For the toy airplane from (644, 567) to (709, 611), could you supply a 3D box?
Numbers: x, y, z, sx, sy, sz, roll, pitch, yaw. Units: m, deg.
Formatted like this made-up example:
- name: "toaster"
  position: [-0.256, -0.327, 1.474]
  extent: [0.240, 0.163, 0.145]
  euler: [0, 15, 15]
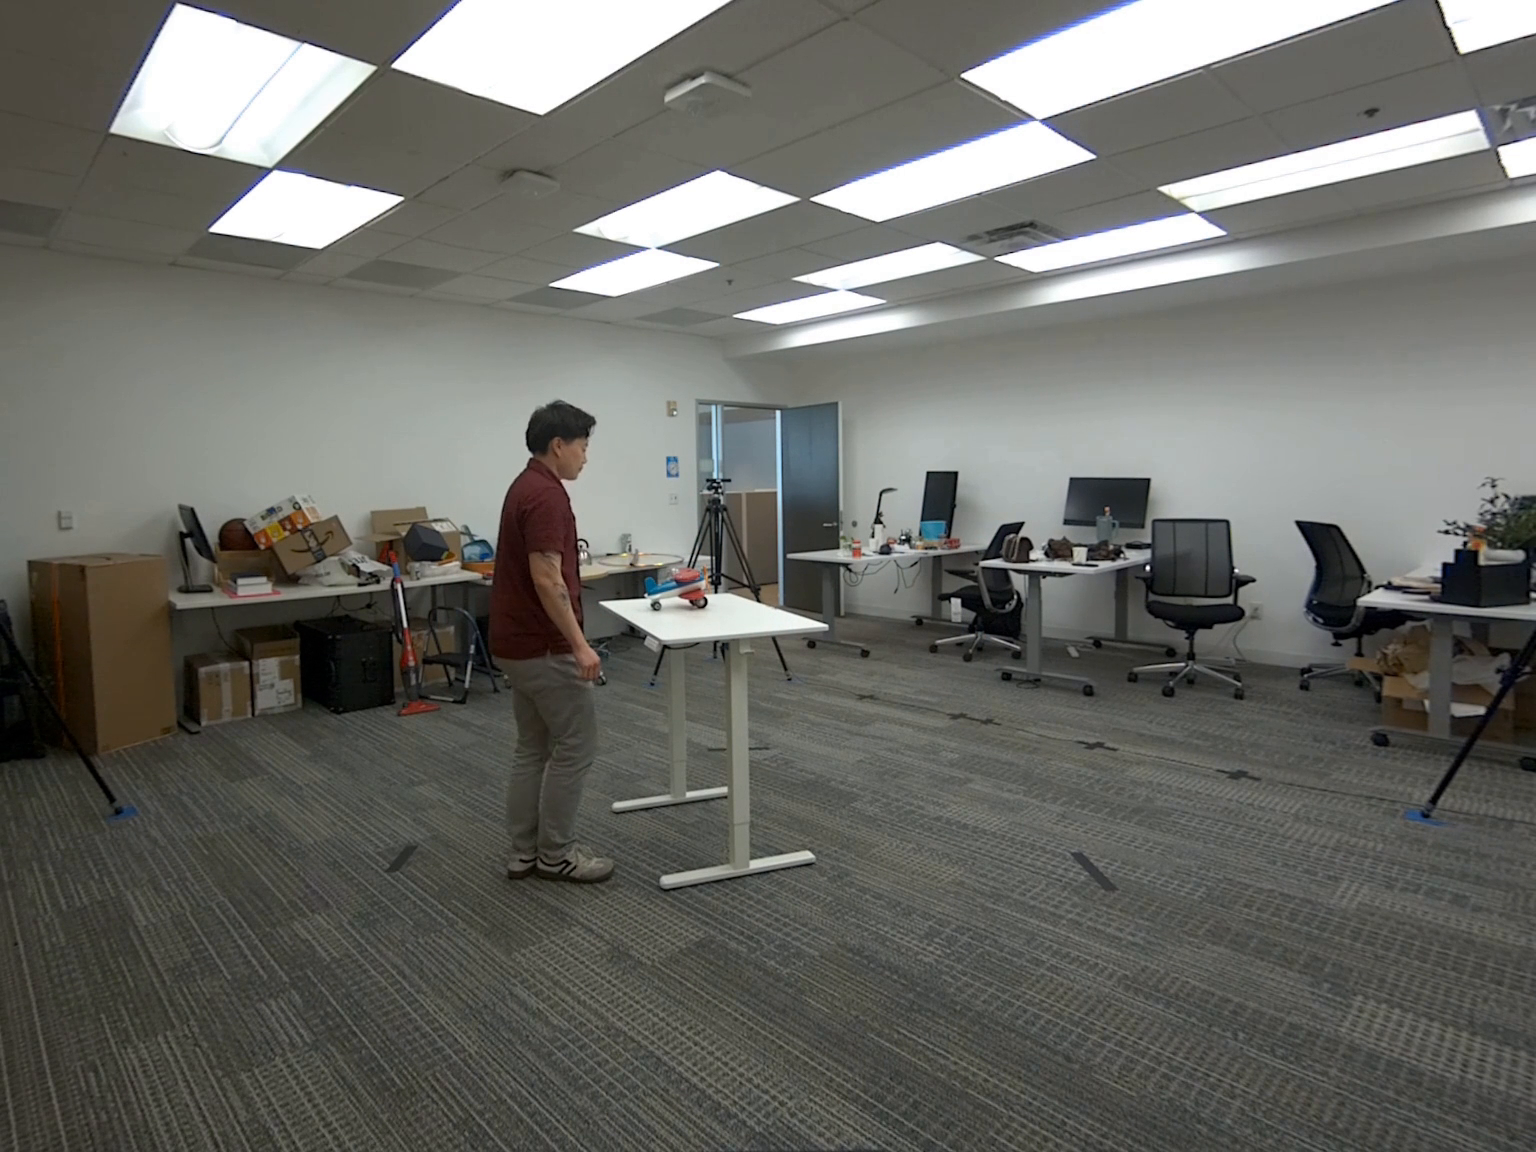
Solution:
- name: "toy airplane"
  position: [-0.354, 0.055, 3.427]
  extent: [0.259, 0.156, 0.252]
  euler: [3, 7, 43]
